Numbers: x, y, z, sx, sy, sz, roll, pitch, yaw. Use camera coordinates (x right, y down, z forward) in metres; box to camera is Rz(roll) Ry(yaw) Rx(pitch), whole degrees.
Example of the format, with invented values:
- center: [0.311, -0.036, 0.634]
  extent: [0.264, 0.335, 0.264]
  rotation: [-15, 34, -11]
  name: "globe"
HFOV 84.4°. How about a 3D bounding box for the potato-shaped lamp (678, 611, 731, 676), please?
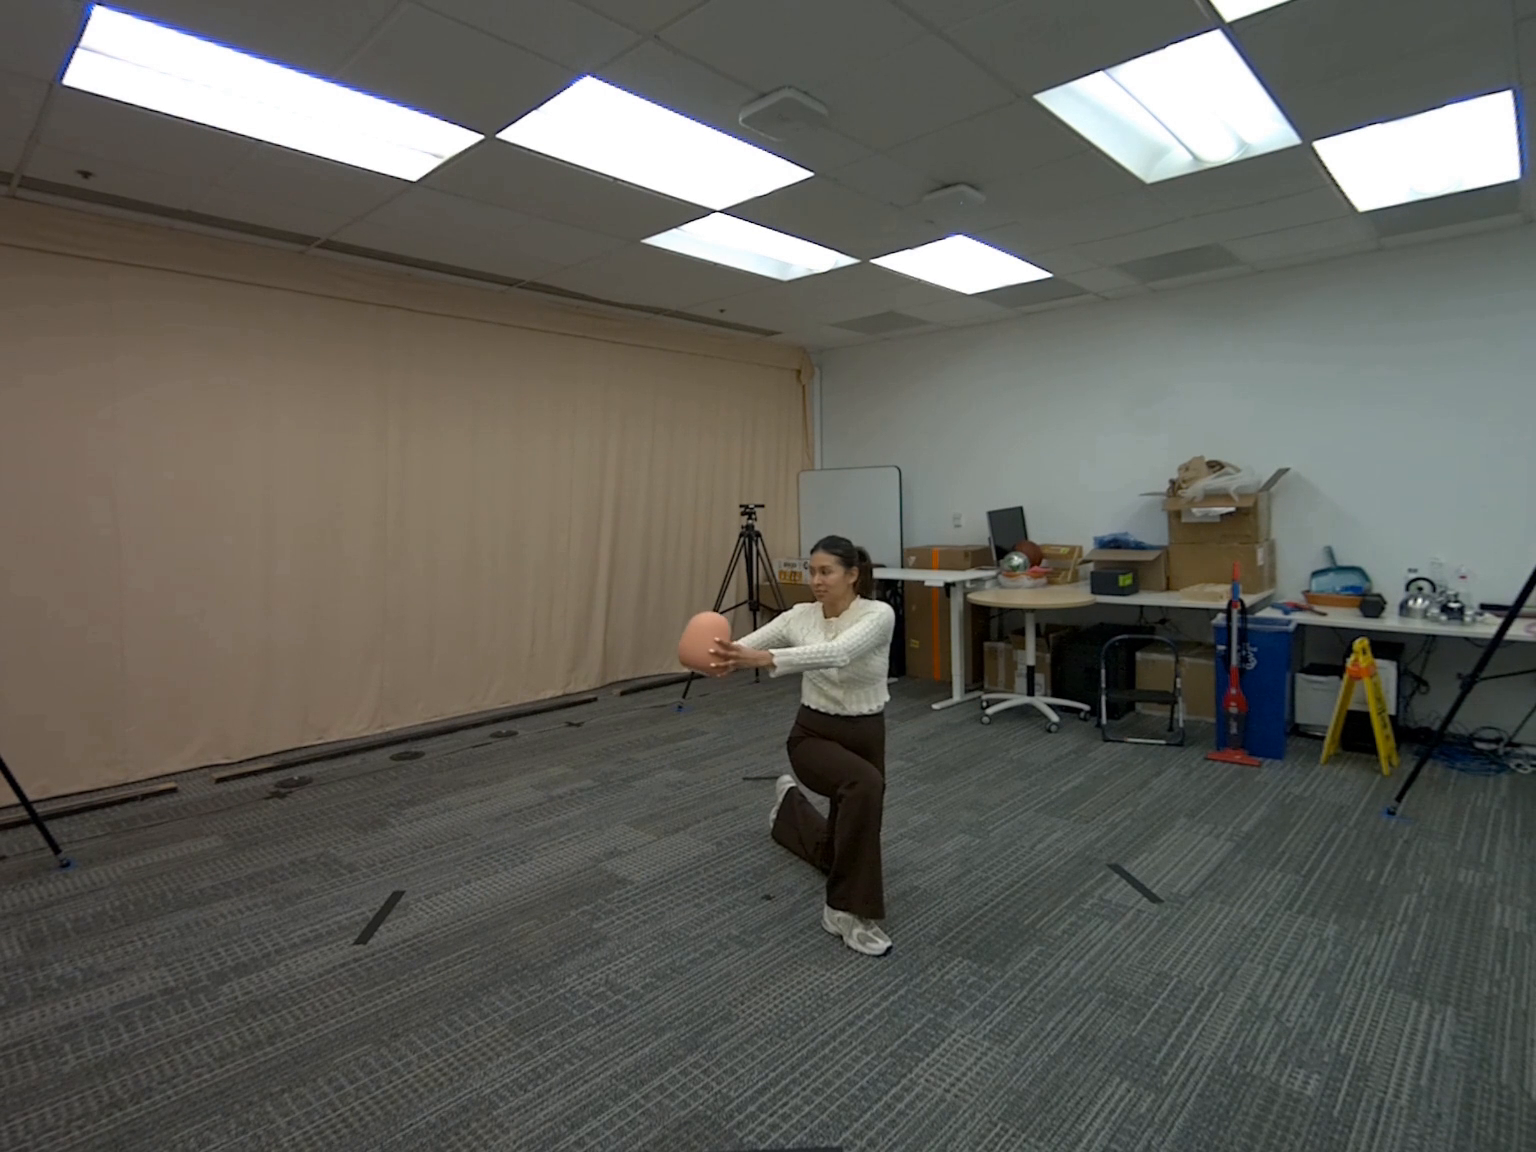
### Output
- center: [-0.168, 0.217, 2.663]
  extent: [0.170, 0.199, 0.165]
  rotation: [-4, -26, 42]
  name: "potato-shaped lamp"
